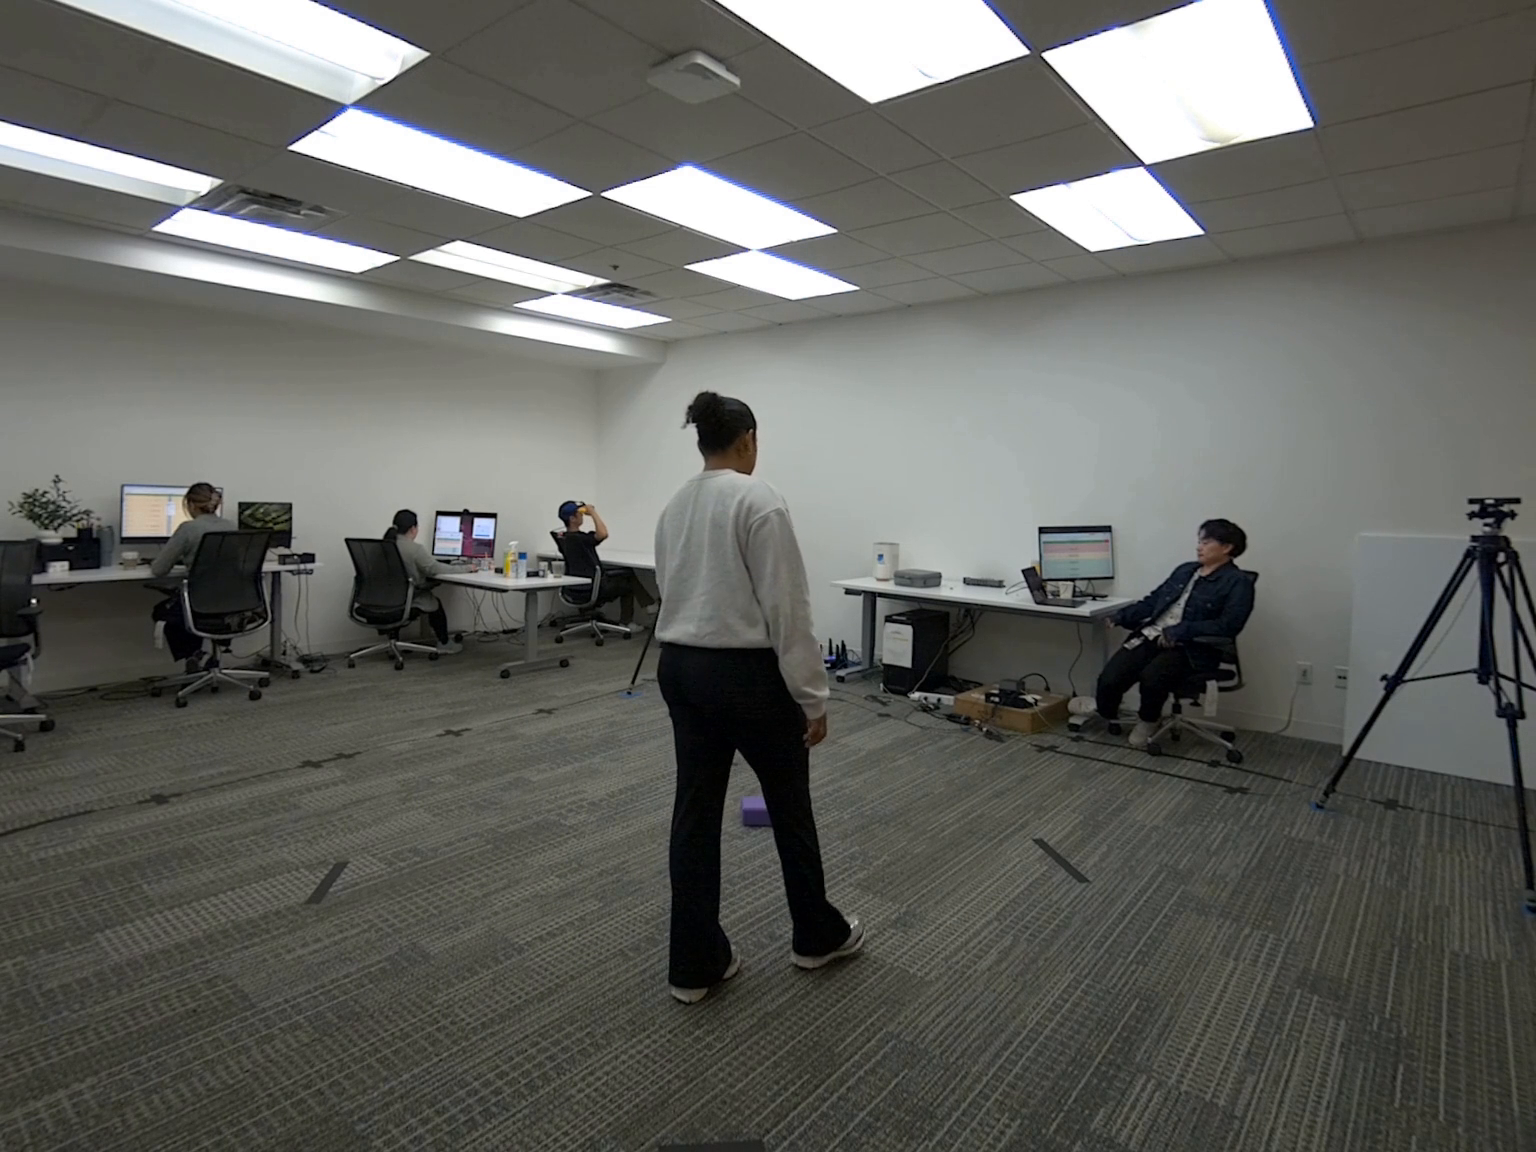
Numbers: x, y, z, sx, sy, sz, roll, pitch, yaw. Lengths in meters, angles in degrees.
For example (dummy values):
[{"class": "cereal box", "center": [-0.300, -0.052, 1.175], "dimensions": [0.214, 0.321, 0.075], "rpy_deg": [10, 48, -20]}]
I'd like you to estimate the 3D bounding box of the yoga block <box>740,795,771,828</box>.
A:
[{"class": "yoga block", "center": [-0.006, 0.981, 3.570], "dimensions": [0.229, 0.076, 0.150], "rpy_deg": [1, 6, -3]}]
